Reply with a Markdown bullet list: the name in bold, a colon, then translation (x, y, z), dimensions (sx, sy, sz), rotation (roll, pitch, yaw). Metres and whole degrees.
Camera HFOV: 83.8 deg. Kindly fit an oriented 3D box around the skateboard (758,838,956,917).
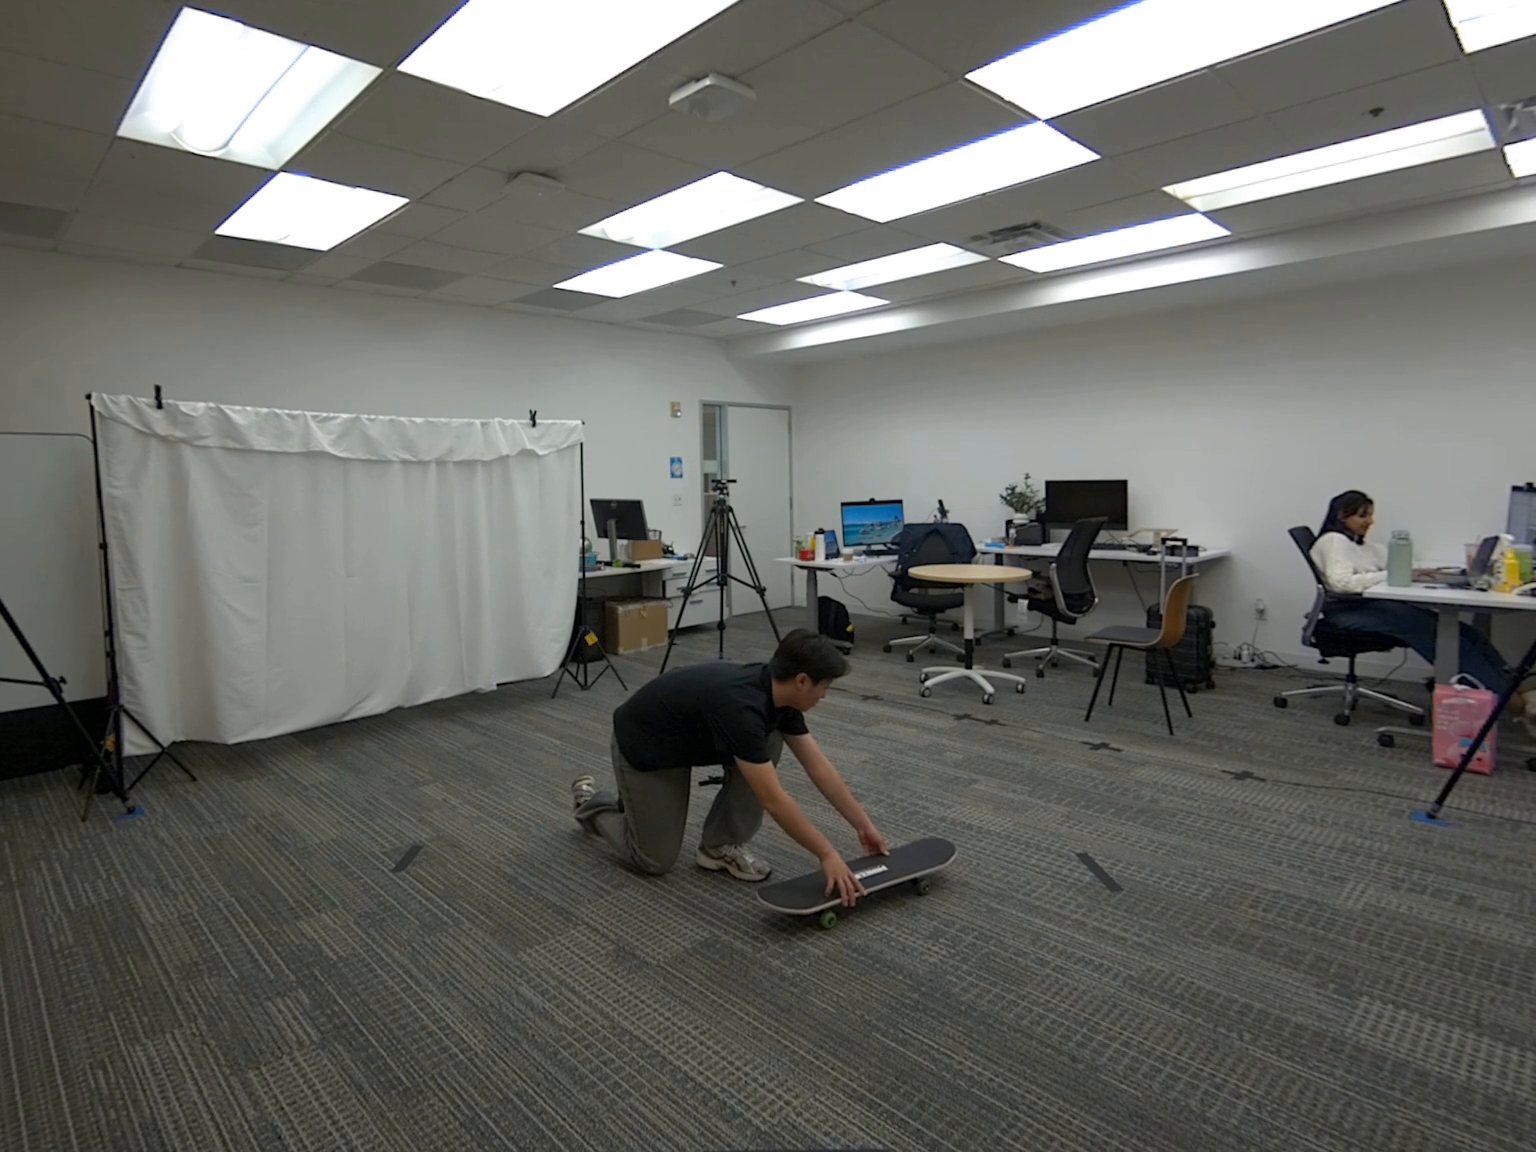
- **skateboard**: translation (0.317, 1.016, 2.819), dimensions (0.767, 0.110, 0.199), rotation (-5, 8, -31)
